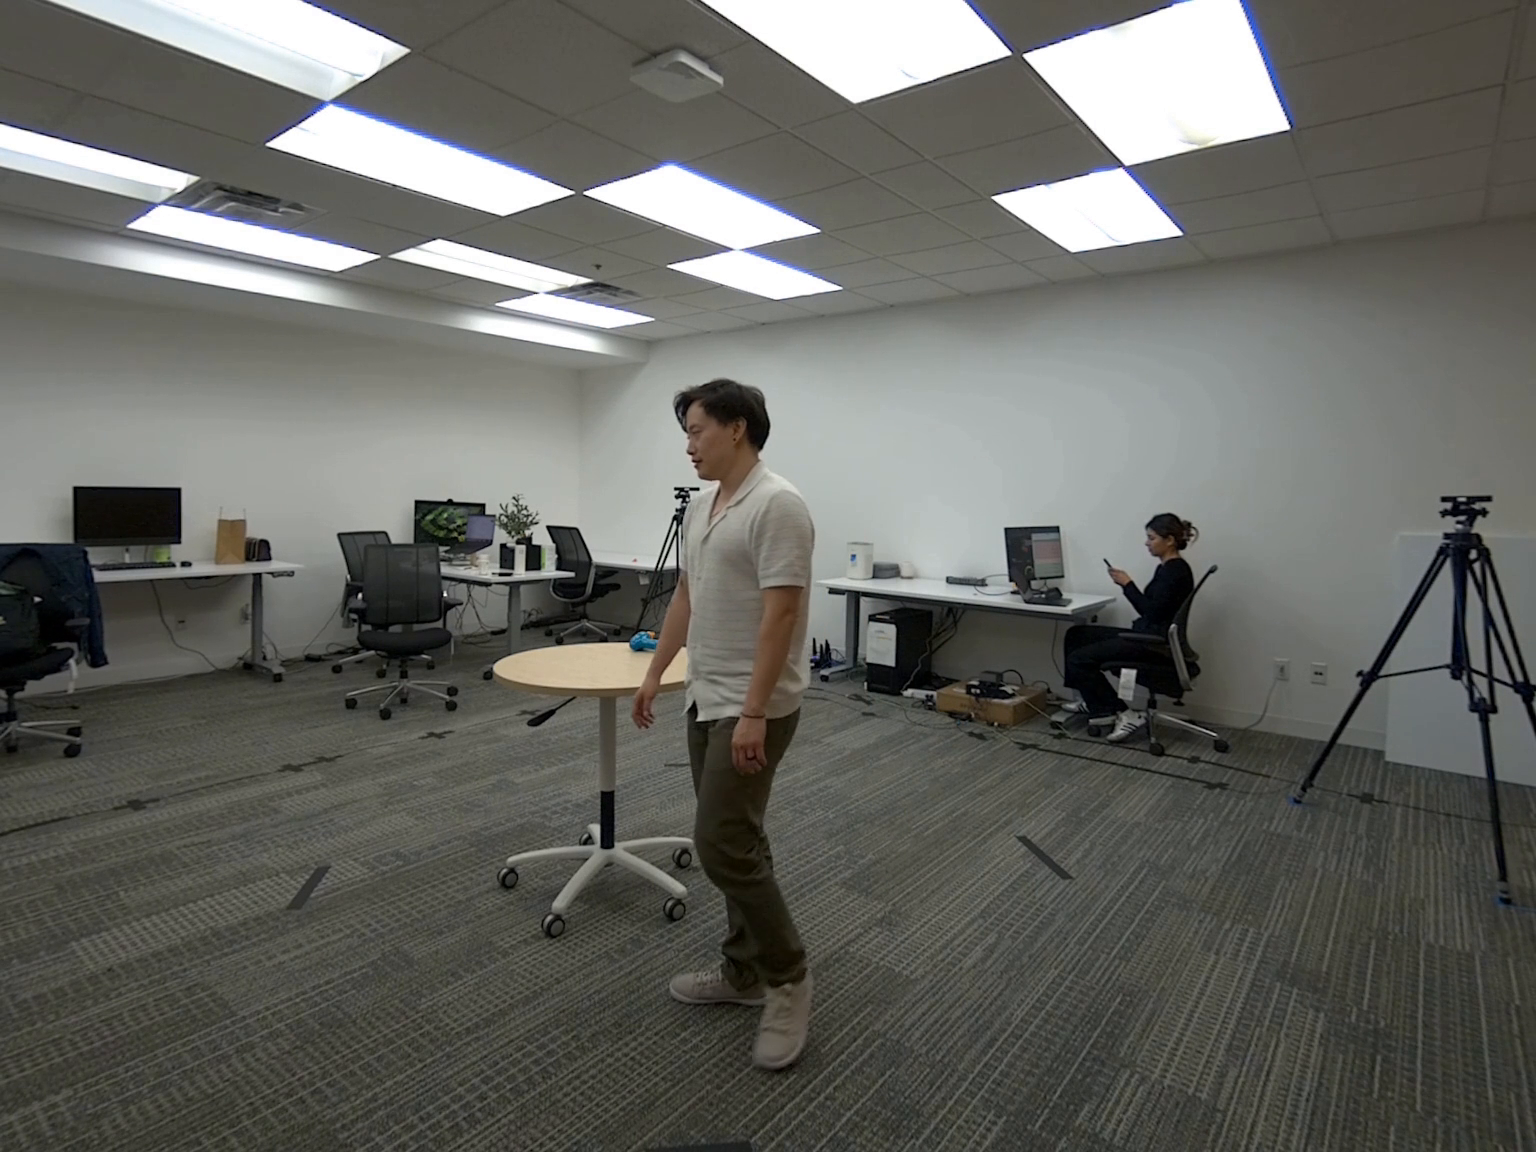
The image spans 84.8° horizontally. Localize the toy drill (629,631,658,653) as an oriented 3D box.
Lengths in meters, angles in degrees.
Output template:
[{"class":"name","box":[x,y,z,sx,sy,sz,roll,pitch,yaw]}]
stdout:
[{"class":"toy drill","box":[-0.444,0.240,3.167,0.149,0.060,0.167,5,12,22]}]
